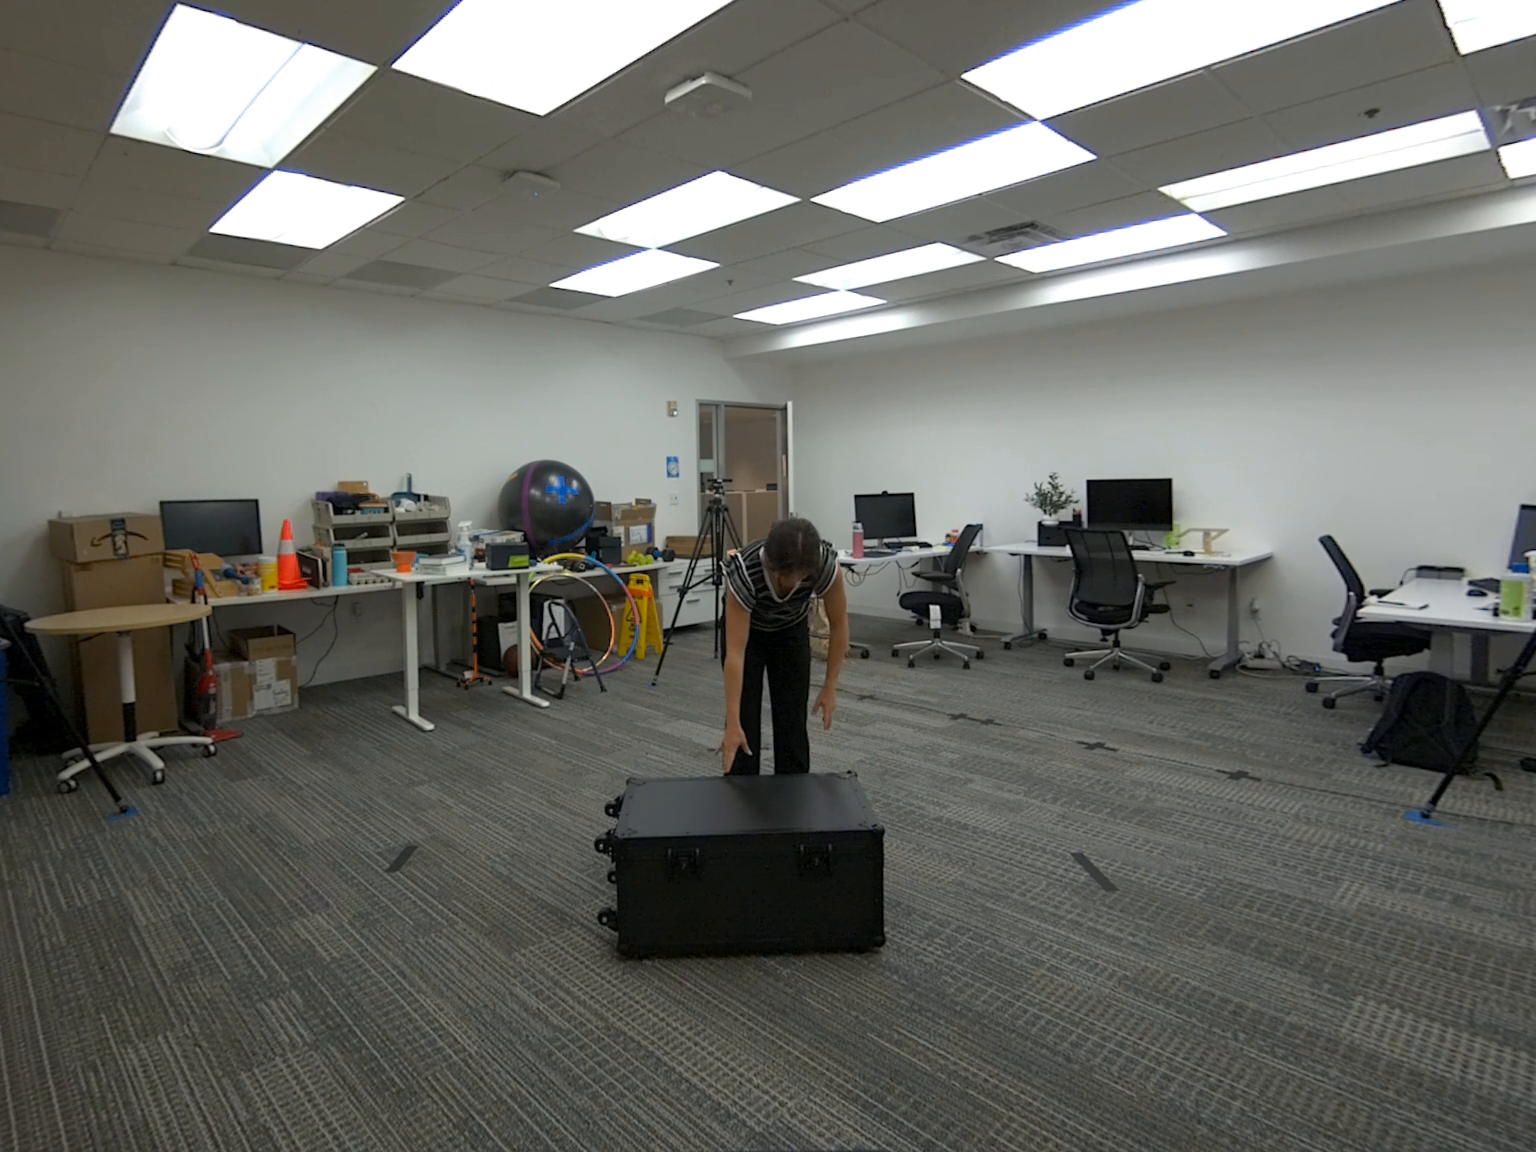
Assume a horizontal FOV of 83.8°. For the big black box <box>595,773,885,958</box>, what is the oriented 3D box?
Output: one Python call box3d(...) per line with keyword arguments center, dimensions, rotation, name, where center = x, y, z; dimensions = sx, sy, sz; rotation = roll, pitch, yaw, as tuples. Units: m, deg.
box3d(center=(-0.100, 0.896, 2.720), dimensions=(0.859, 0.395, 0.525), rotation=(-1, 5, -3), name="big black box")
